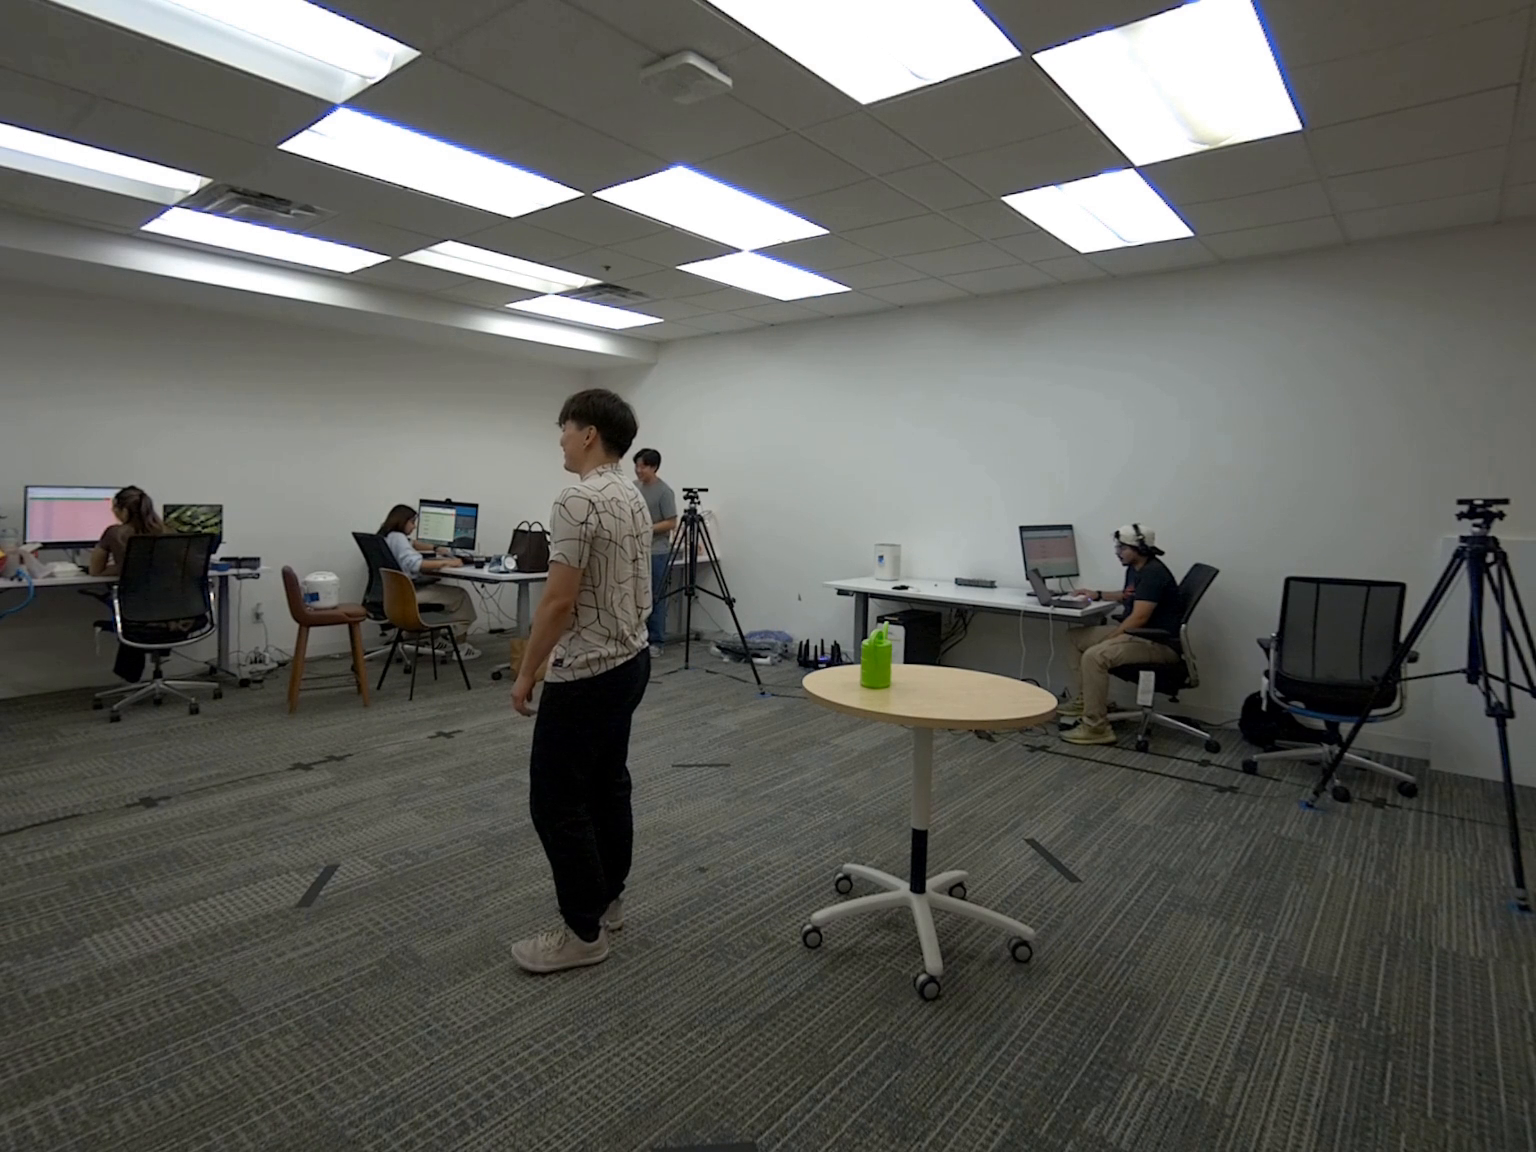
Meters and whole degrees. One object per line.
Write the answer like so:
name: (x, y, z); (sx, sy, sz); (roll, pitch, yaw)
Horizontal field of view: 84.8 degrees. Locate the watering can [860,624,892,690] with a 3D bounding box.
watering can: (0.356, 0.254, 2.703); (0.101, 0.176, 0.271); (5, 7, 28)
